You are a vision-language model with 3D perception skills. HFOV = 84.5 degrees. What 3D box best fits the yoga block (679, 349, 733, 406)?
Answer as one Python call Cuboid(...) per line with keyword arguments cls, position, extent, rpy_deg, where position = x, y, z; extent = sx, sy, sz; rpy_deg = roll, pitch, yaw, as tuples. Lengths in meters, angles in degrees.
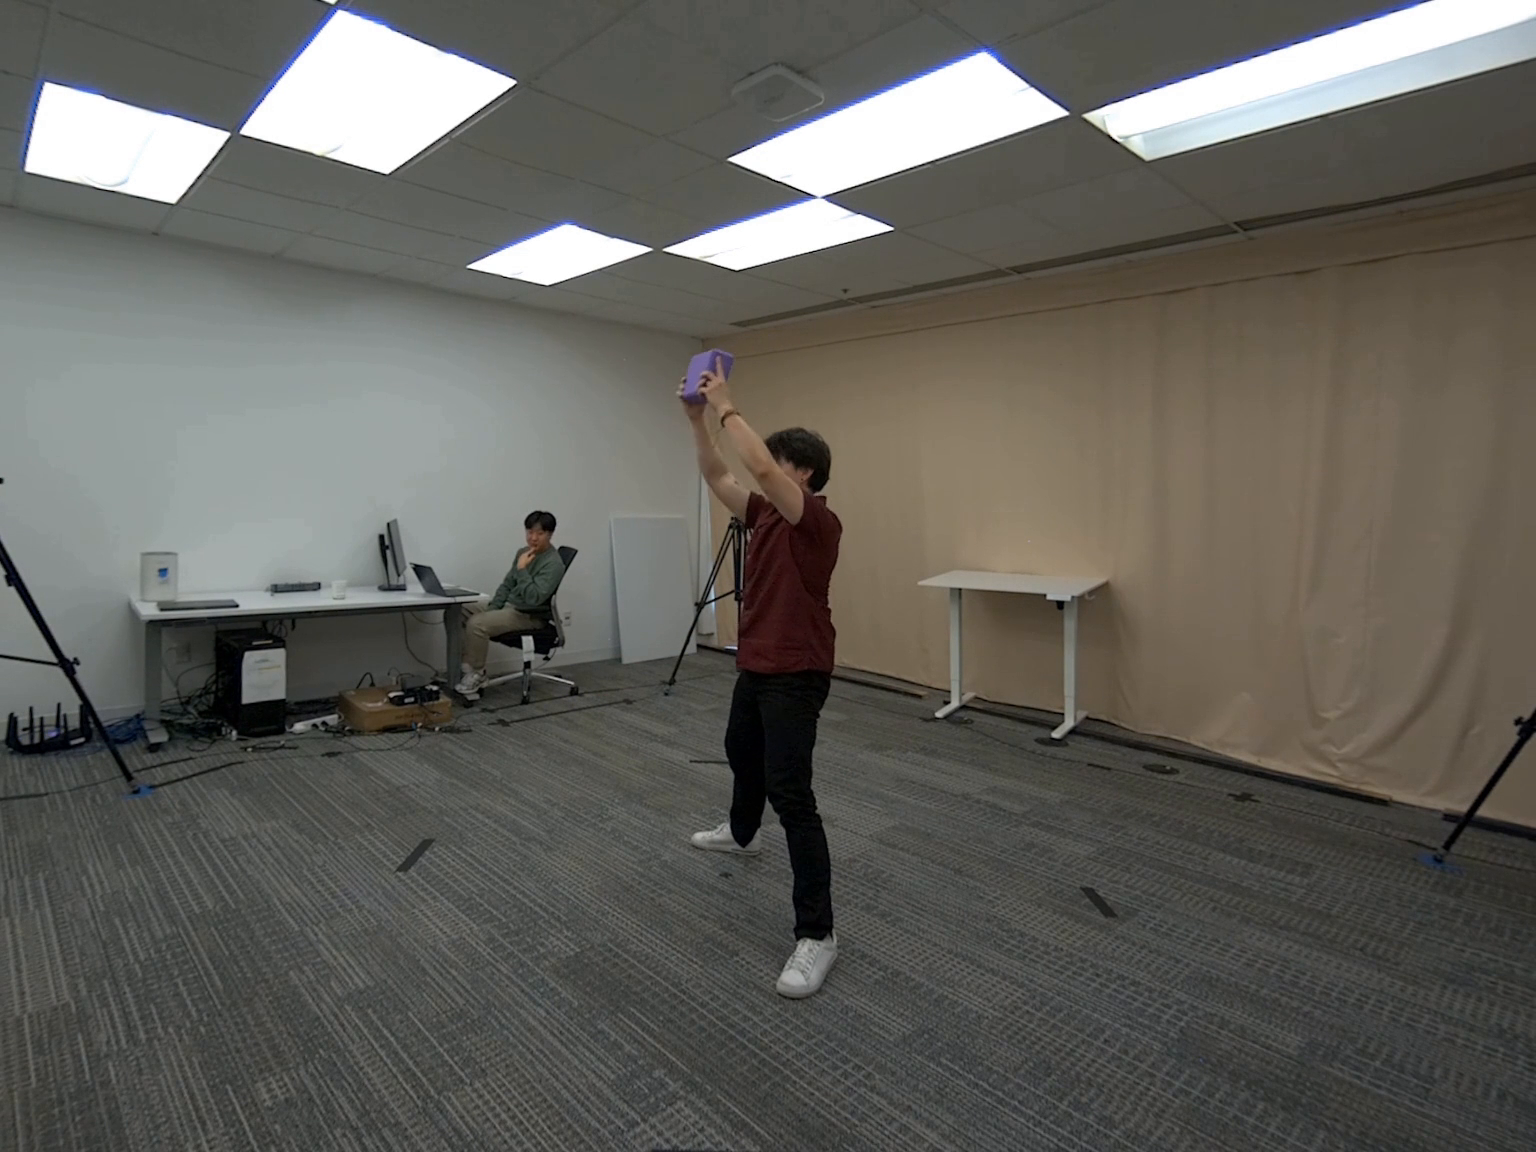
Cuboid(cls="yoga block", position=(-0.218, -0.631, 2.745), extent=(0.075, 0.149, 0.233), rpy_deg=(17, 1, -20))
